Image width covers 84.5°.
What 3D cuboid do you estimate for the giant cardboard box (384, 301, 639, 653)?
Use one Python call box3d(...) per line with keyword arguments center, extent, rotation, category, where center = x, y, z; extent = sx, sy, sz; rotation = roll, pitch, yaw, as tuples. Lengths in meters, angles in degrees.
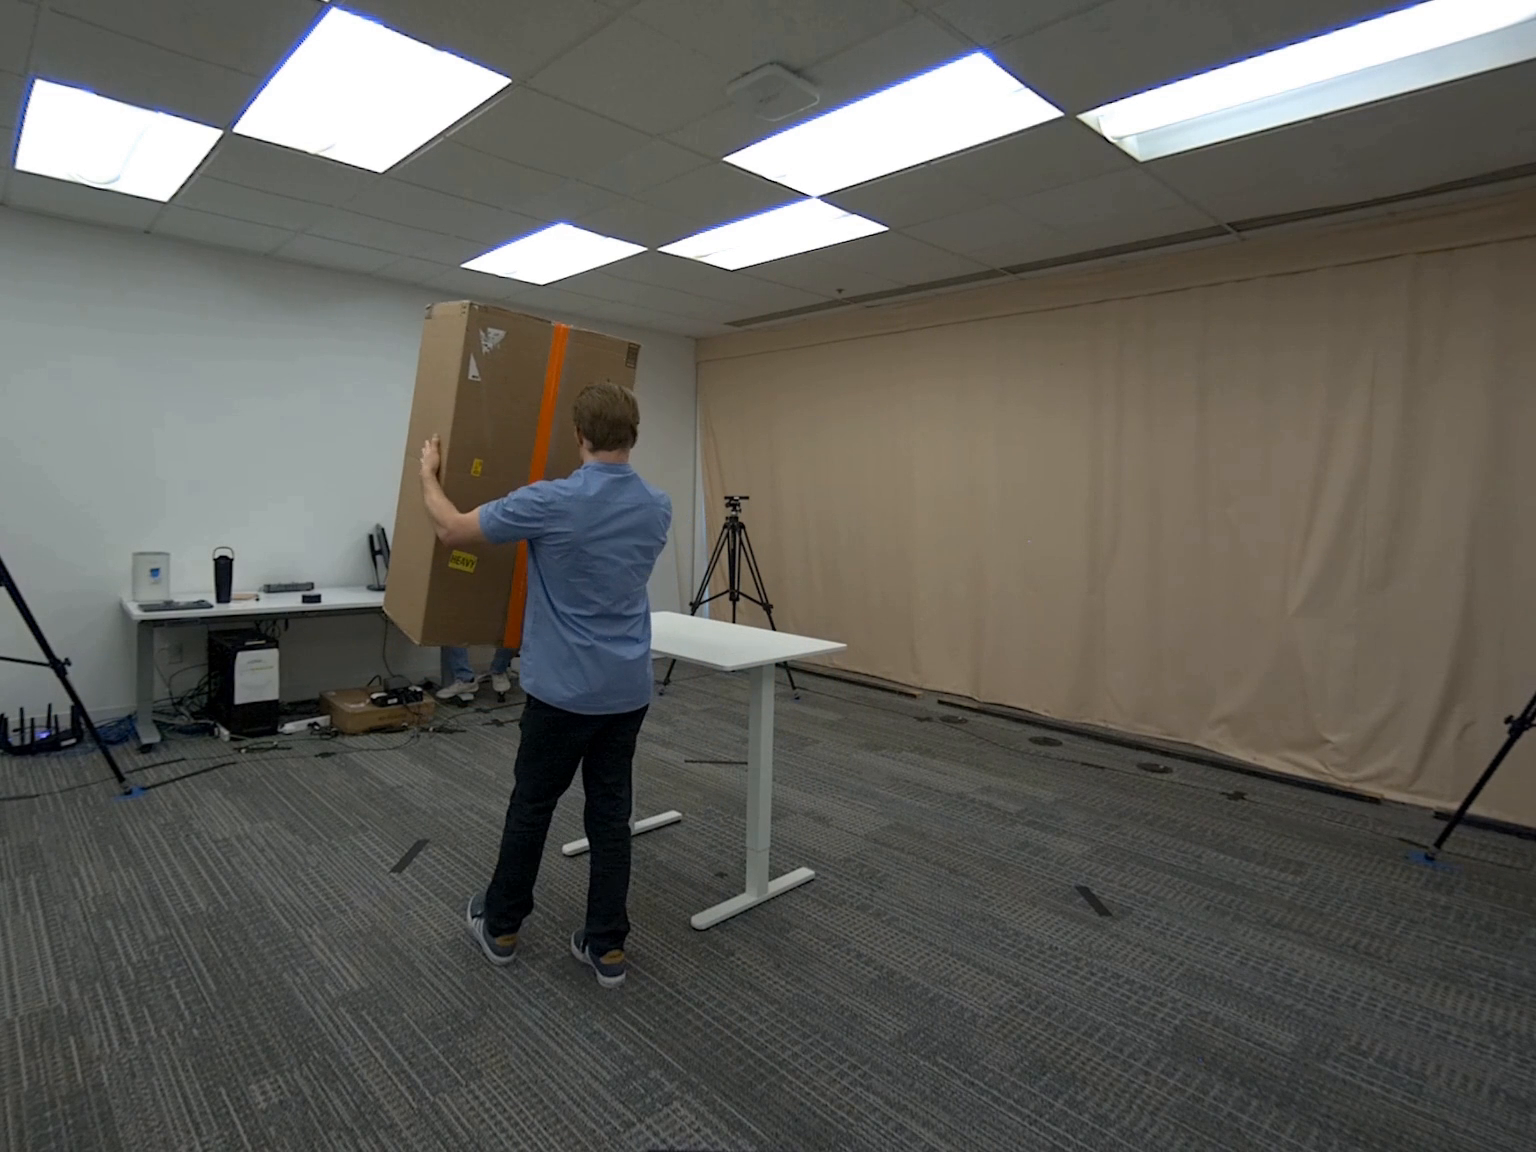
box3d(center=(-0.852, -0.315, 2.771), extent=(0.563, 1.022, 0.438), rotation=(5, 8, -38), category="giant cardboard box")
